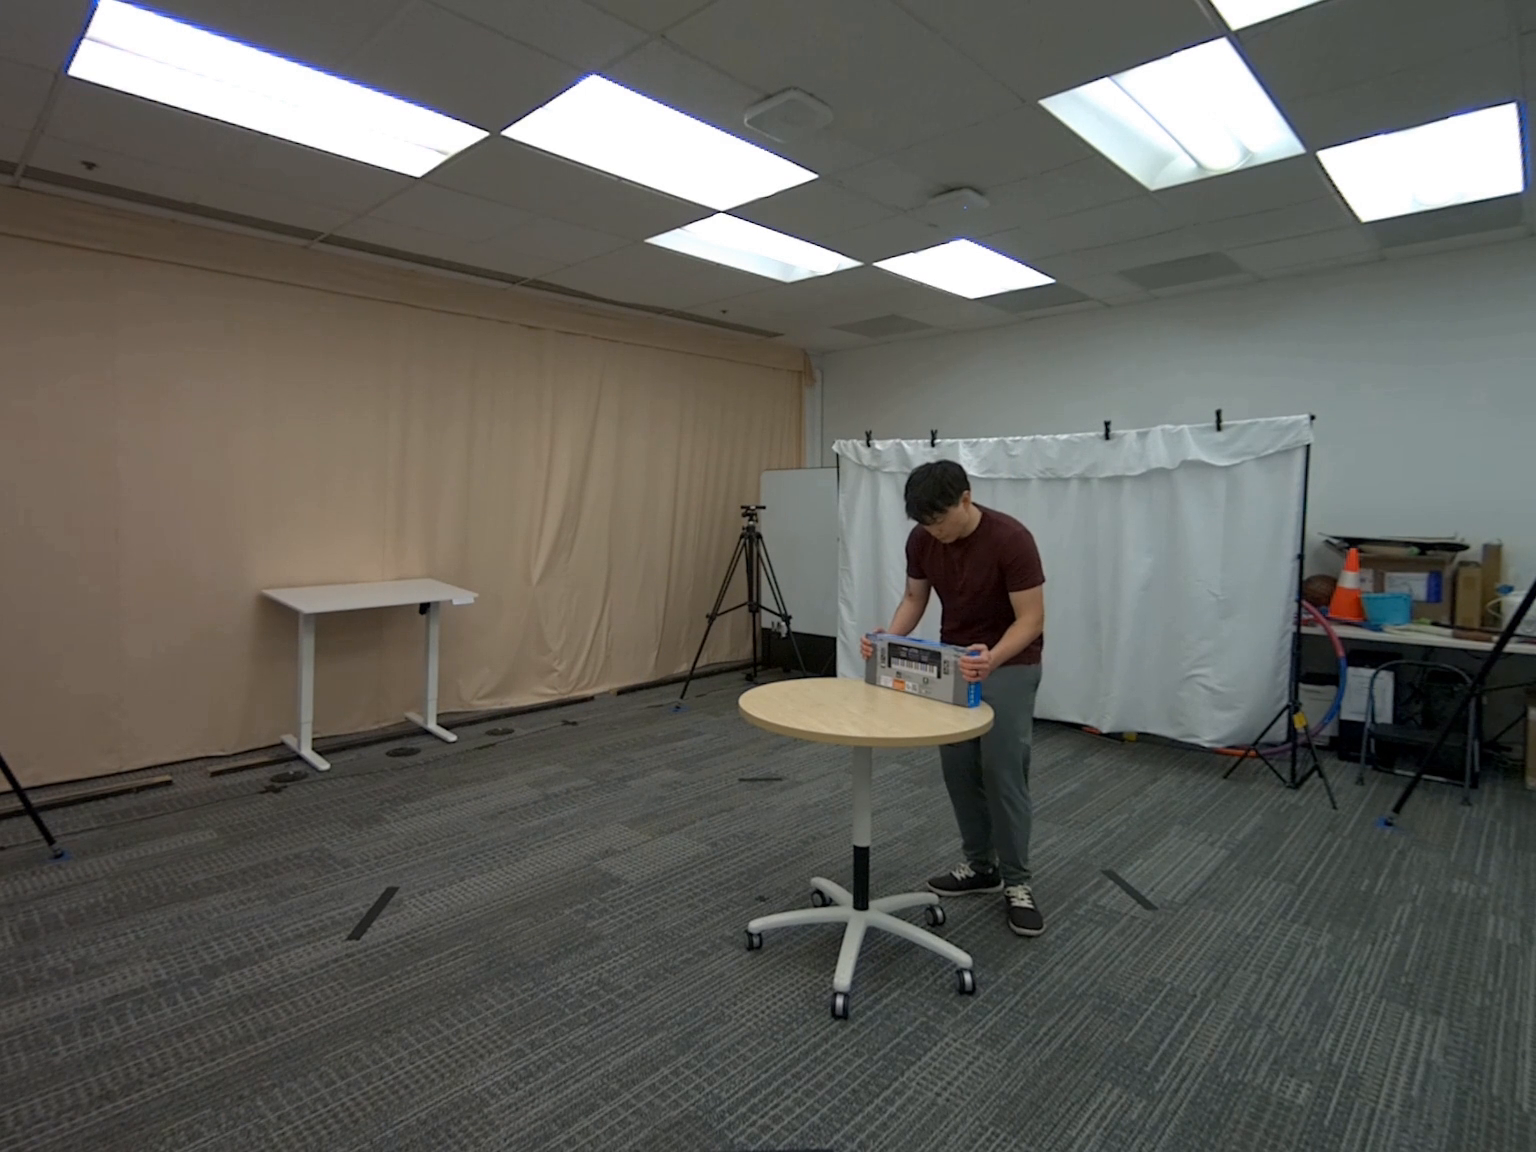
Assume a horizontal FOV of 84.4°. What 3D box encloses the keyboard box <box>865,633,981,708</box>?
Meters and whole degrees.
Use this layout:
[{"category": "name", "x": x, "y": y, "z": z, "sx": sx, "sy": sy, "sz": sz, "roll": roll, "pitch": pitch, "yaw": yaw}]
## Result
[{"category": "keyboard box", "x": 0.498, "y": 0.303, "z": 2.719, "sx": 0.057, "sy": 0.175, "sz": 0.451, "roll": -1, "pitch": 5, "yaw": -37}]
